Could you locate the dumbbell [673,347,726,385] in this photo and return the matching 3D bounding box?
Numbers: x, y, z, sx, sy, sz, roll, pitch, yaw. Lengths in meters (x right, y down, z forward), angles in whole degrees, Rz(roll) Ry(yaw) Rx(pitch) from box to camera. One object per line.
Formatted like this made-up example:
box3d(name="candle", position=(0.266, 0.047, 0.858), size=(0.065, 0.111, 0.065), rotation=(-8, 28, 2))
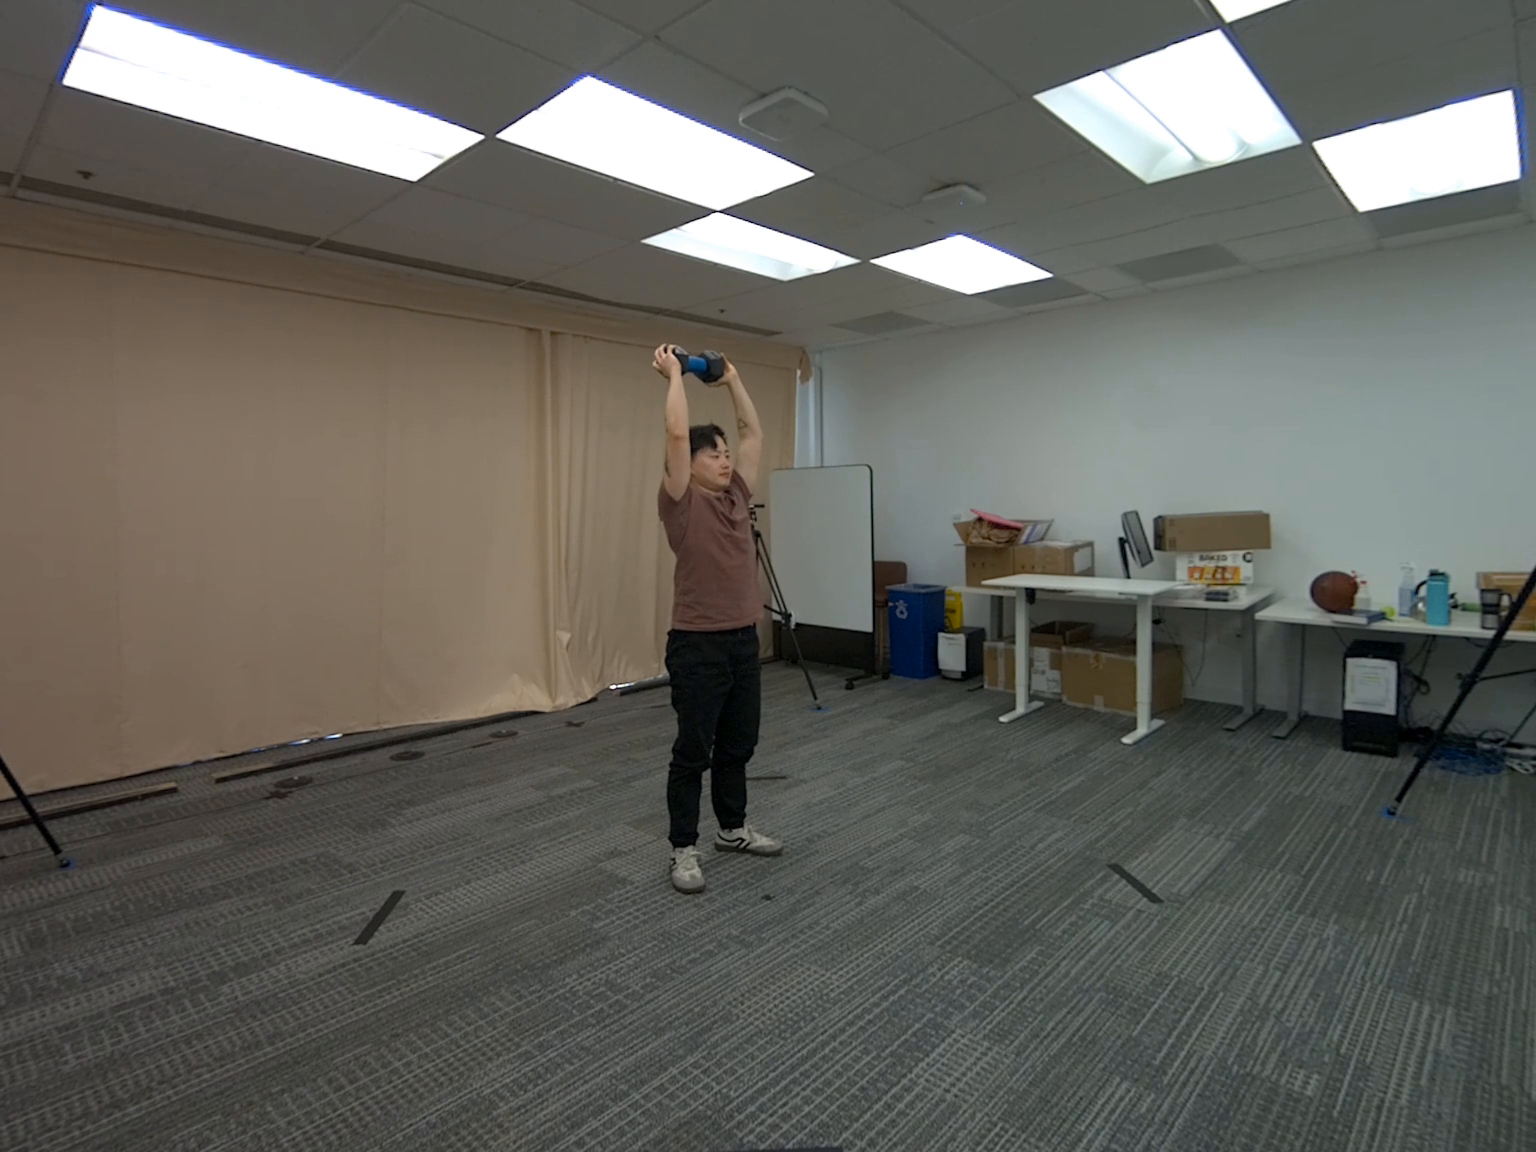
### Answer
box3d(name="dumbbell", position=(-0.282, -0.797, 3.208), size=(0.126, 0.109, 0.285), rotation=(45, 31, 25))
